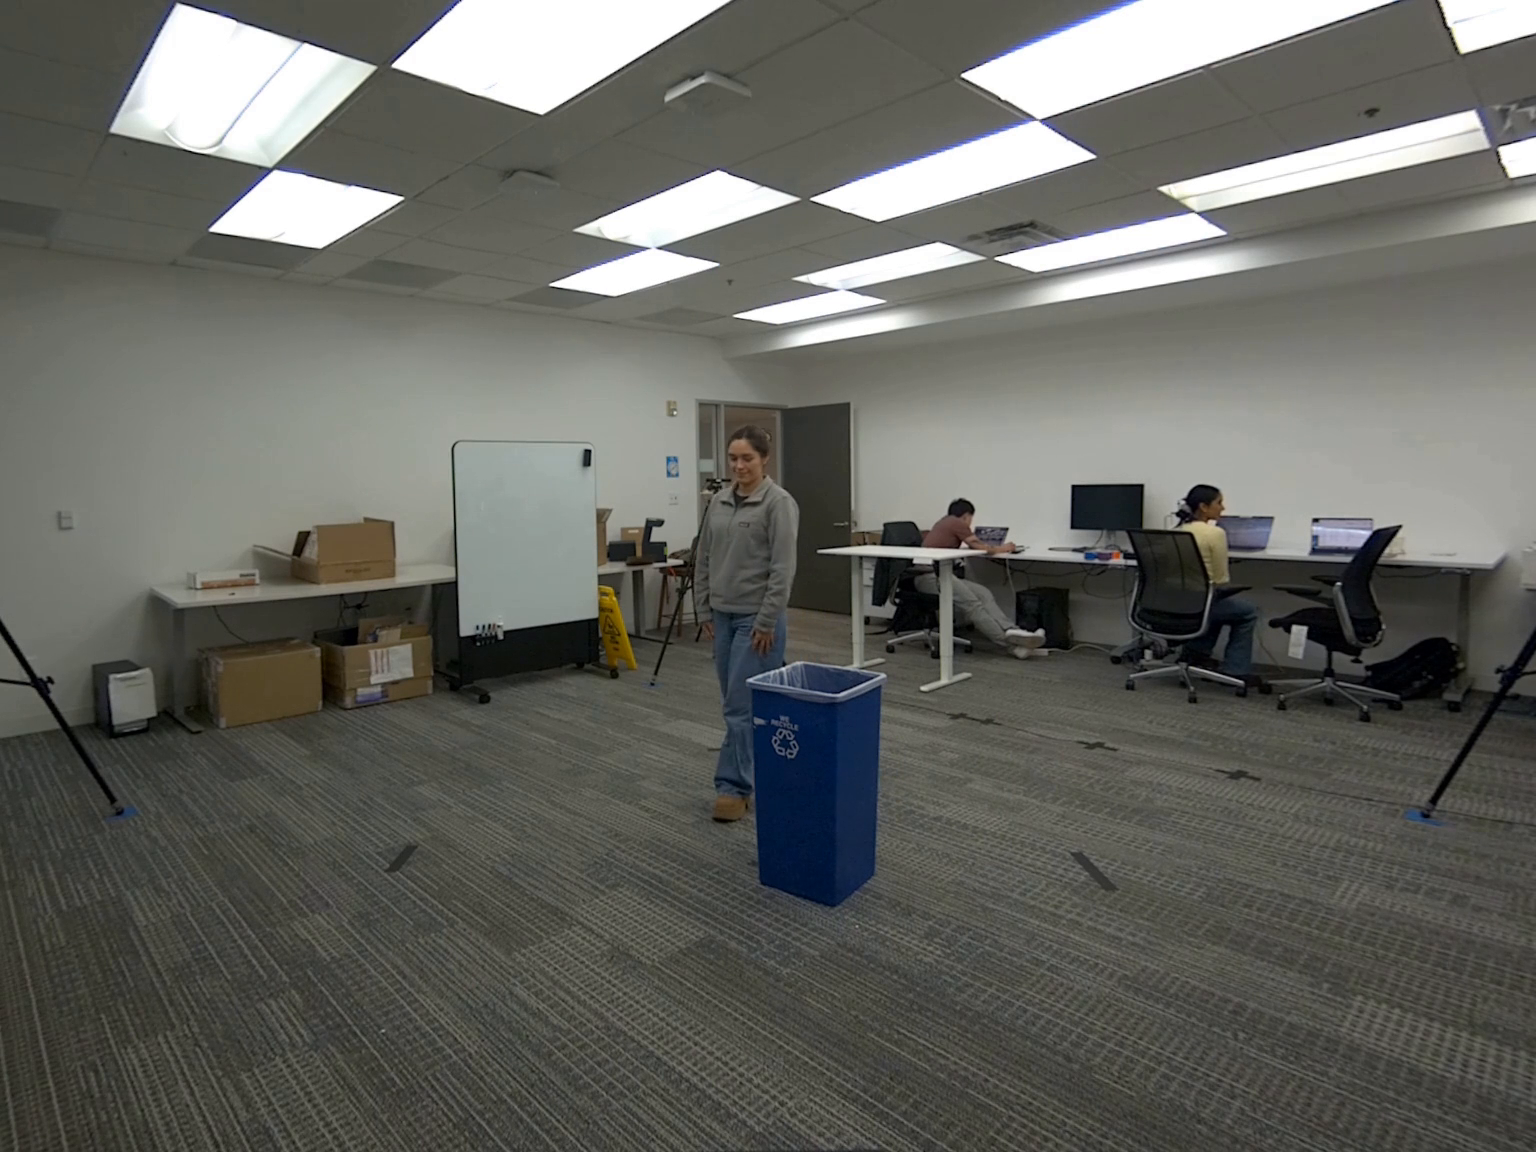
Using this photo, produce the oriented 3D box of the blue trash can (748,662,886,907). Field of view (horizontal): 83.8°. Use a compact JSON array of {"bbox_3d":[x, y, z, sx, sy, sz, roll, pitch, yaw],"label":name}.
[{"bbox_3d":[0.181,0.701,2.951,0.385,0.711,0.369,2,5,35],"label":"blue trash can"}]
